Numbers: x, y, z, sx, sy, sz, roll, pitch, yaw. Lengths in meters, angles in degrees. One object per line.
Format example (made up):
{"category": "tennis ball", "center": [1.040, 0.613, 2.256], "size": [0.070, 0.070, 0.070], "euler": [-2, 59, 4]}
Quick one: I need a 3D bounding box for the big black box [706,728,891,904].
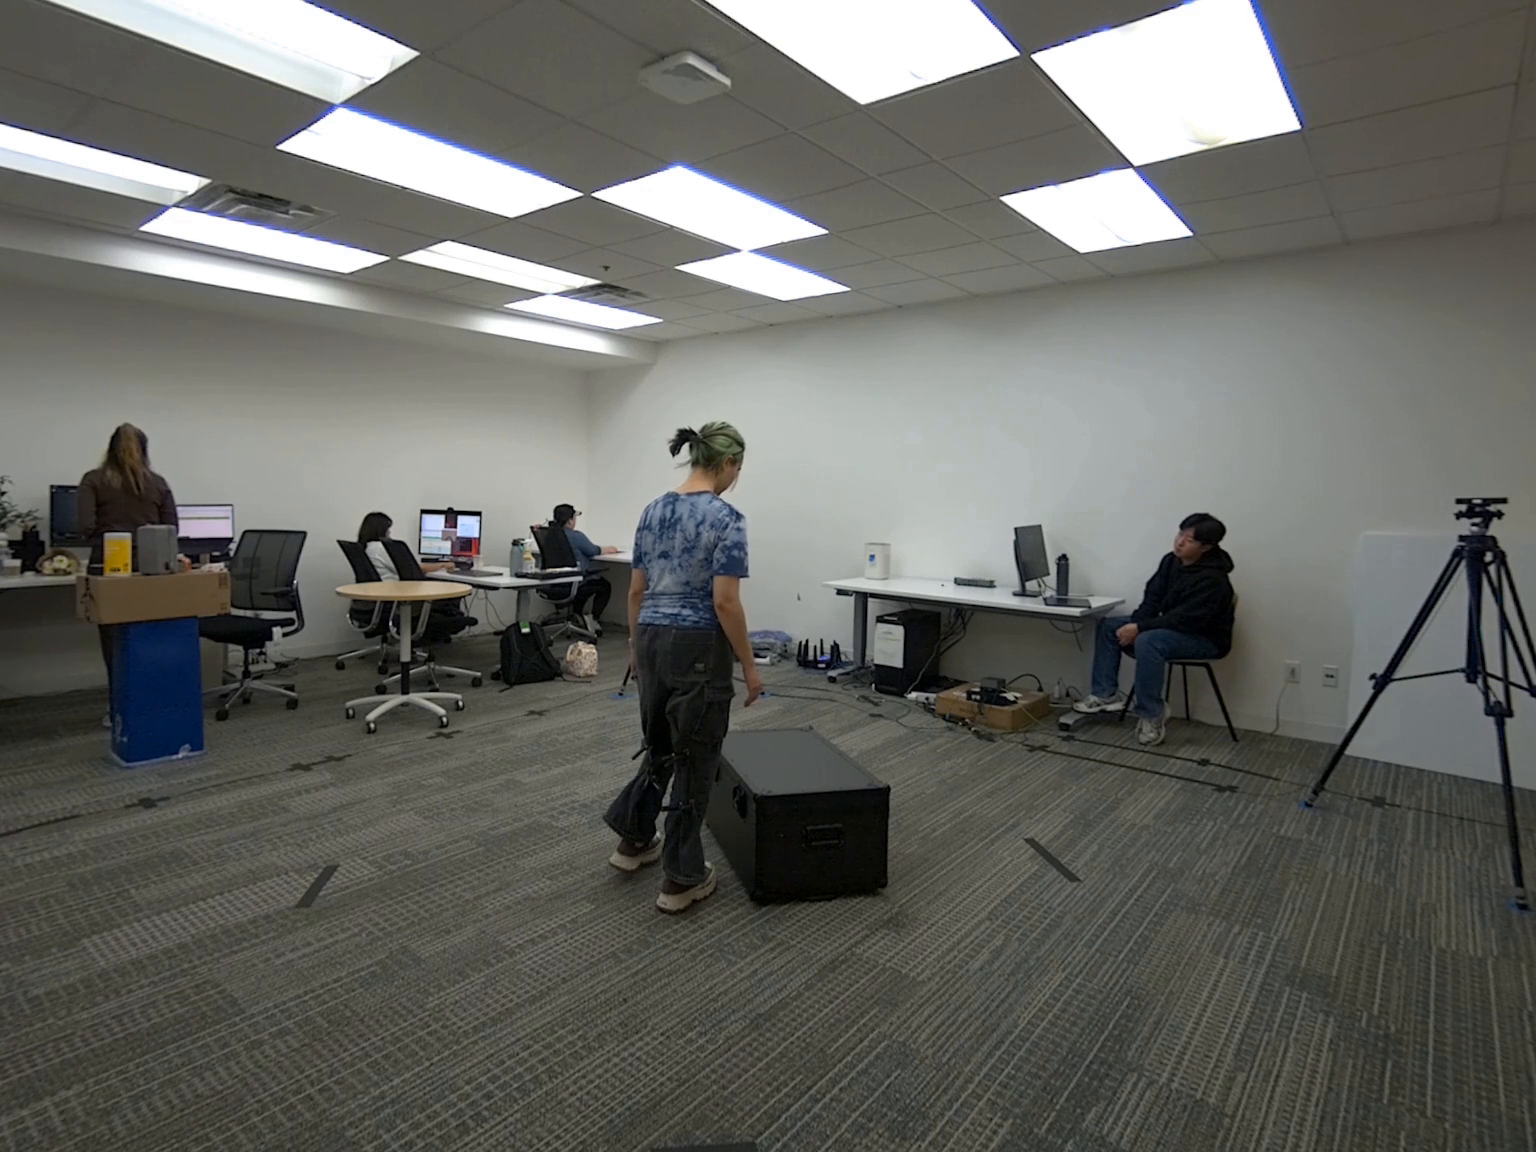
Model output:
{"category": "big black box", "center": [0.069, 0.870, 3.216], "size": [0.513, 0.395, 0.879], "euler": [-1, 5, -16]}
